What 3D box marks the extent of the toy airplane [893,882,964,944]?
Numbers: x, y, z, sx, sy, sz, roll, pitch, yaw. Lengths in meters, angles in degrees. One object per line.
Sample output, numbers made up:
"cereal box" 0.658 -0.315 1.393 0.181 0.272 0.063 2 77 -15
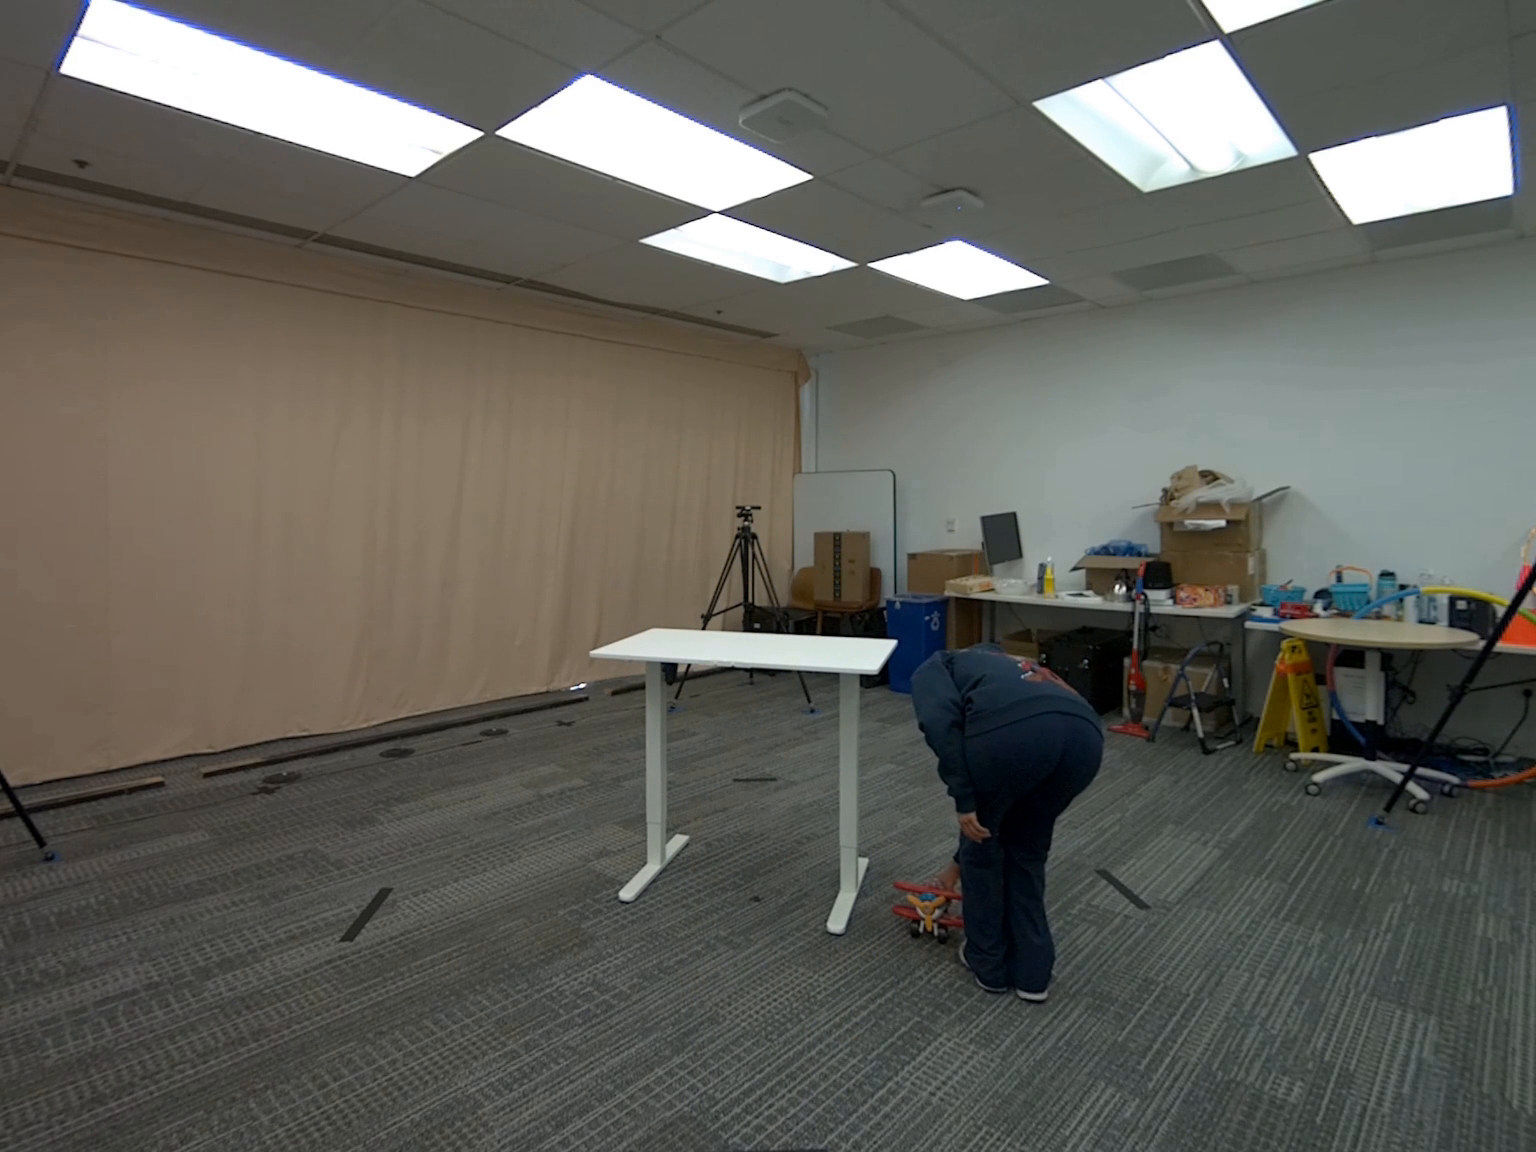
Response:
"toy airplane" 0.557 1.077 2.771 0.250 0.156 0.261 -2 5 -4
